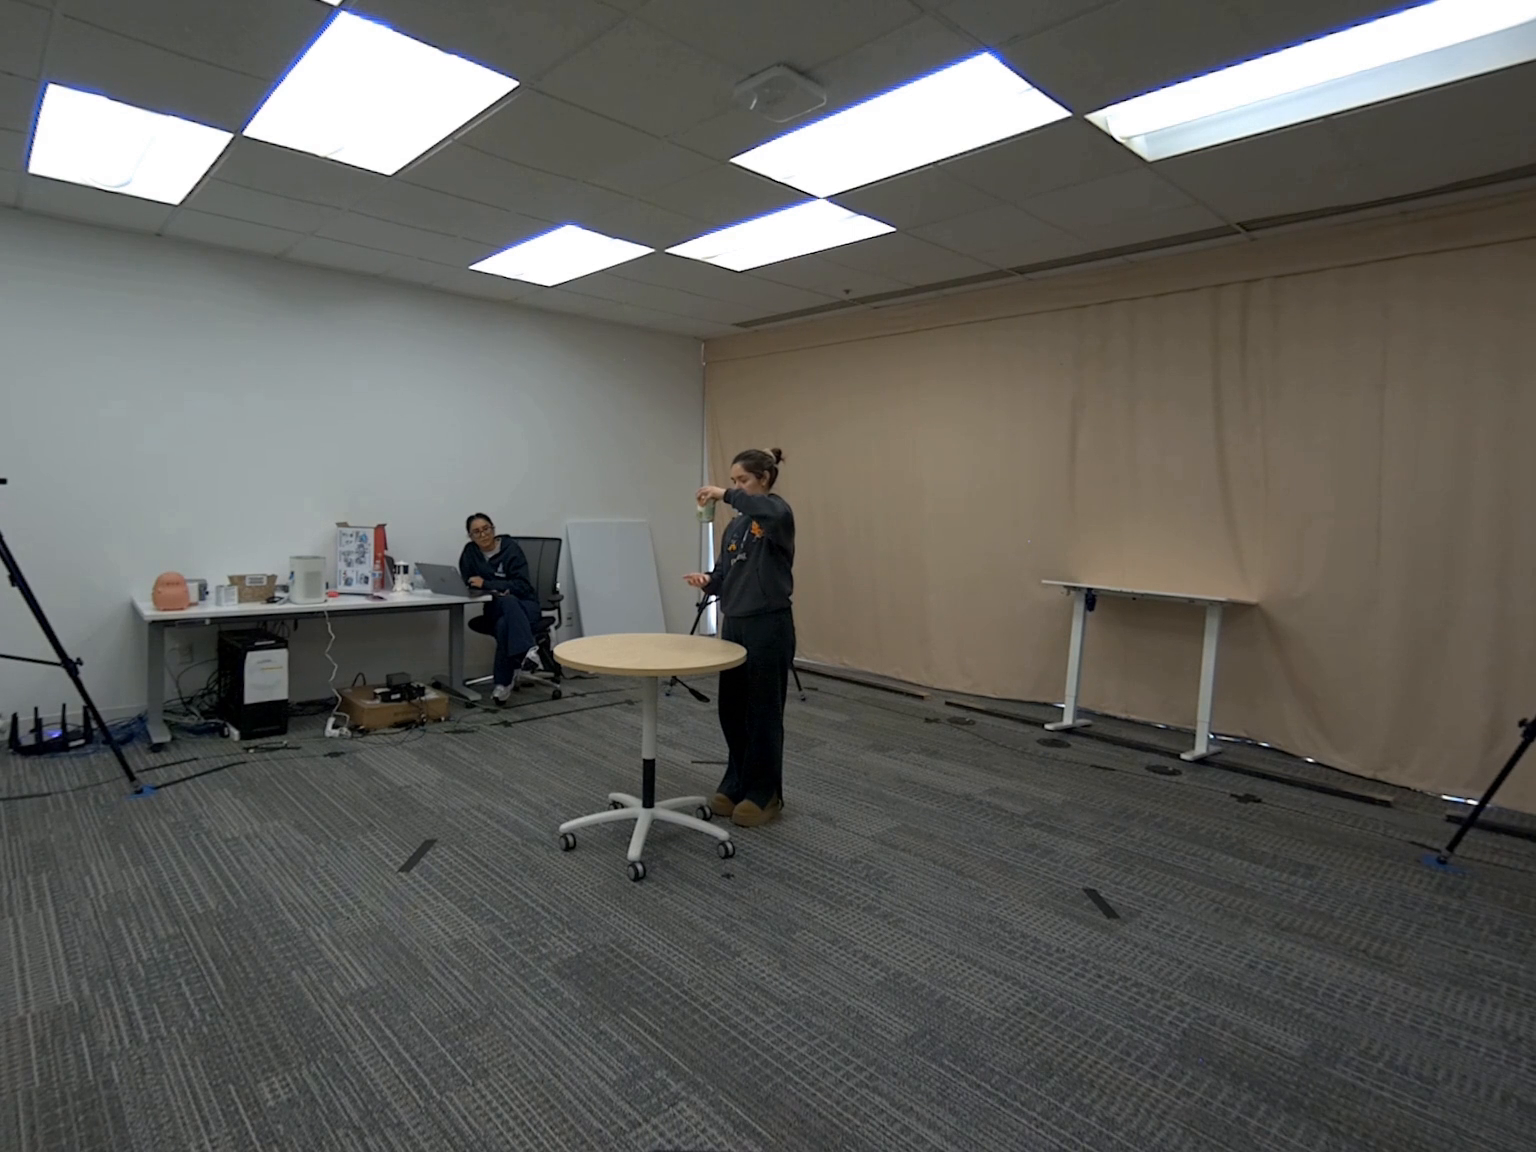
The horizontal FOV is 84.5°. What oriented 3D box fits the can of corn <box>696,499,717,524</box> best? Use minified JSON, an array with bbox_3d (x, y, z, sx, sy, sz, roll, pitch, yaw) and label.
[{"bbox_3d":[-0.259,-0.288,3.476,0.074,0.109,0.075,4,22,-3],"label":"can of corn"}]
